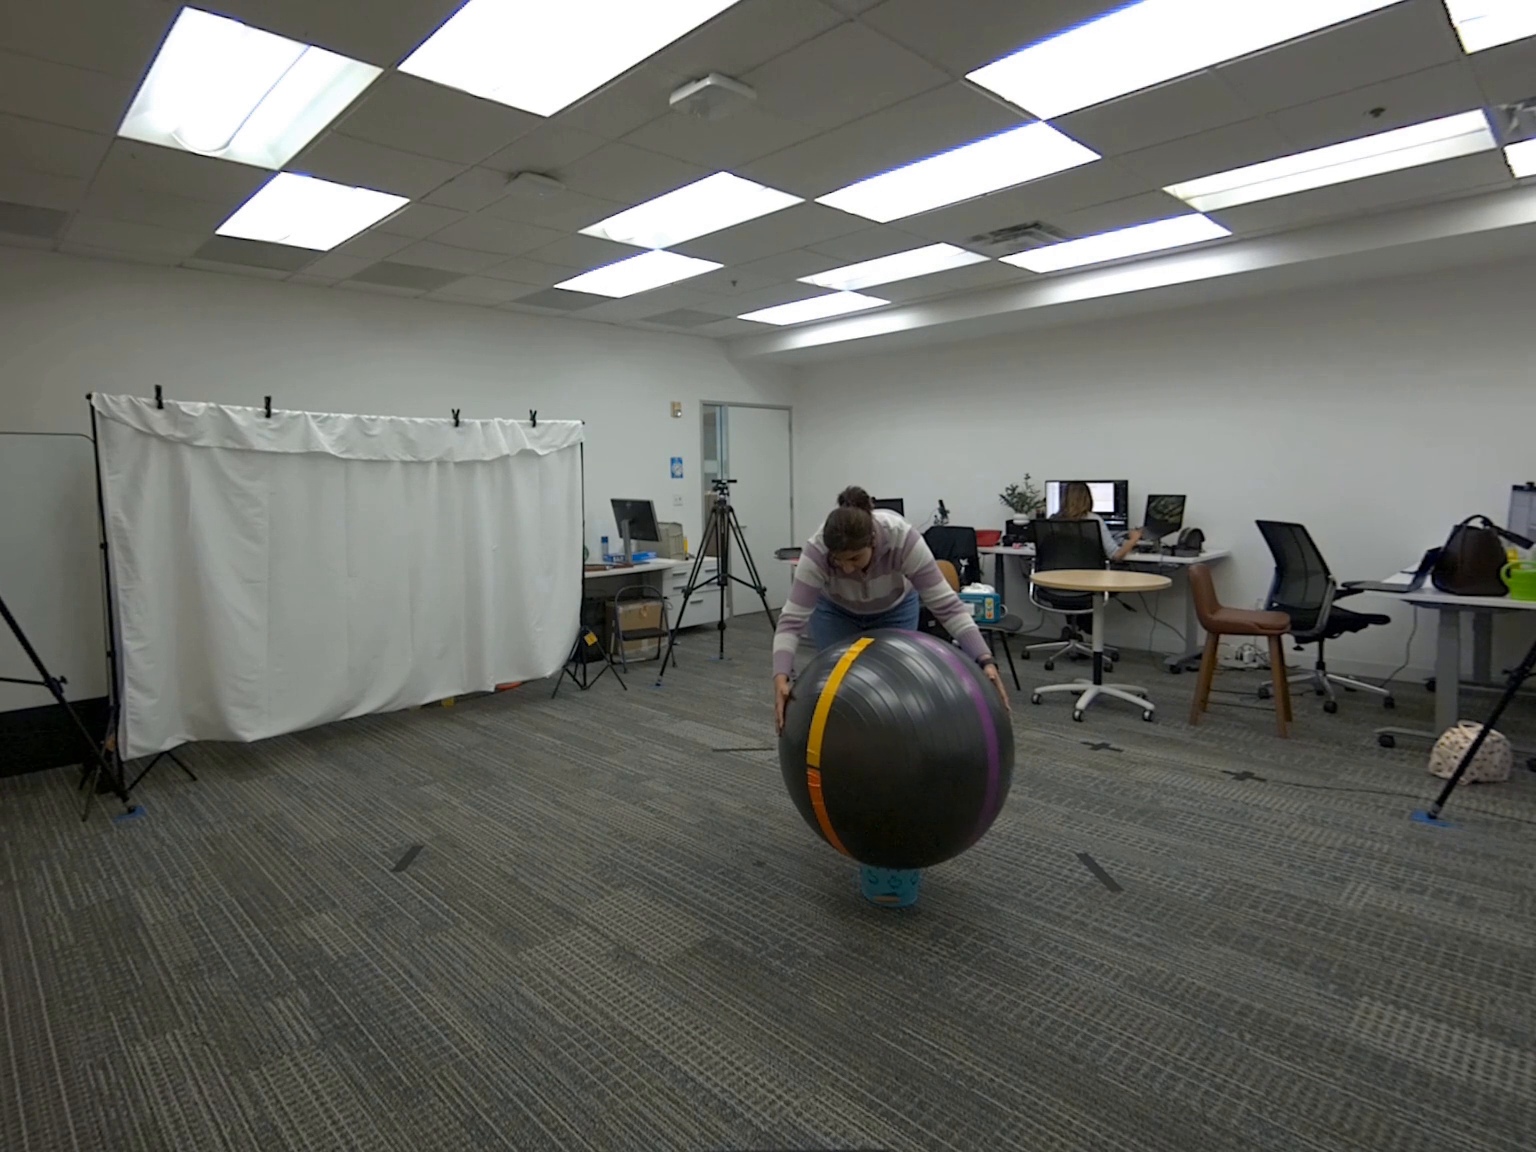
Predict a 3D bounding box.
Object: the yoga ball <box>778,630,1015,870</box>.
[{"bbox_3d":[0.414,0.560,2.794,0.757,0.755,0.762,-1,5,-2],"label":"yoga ball"}]
